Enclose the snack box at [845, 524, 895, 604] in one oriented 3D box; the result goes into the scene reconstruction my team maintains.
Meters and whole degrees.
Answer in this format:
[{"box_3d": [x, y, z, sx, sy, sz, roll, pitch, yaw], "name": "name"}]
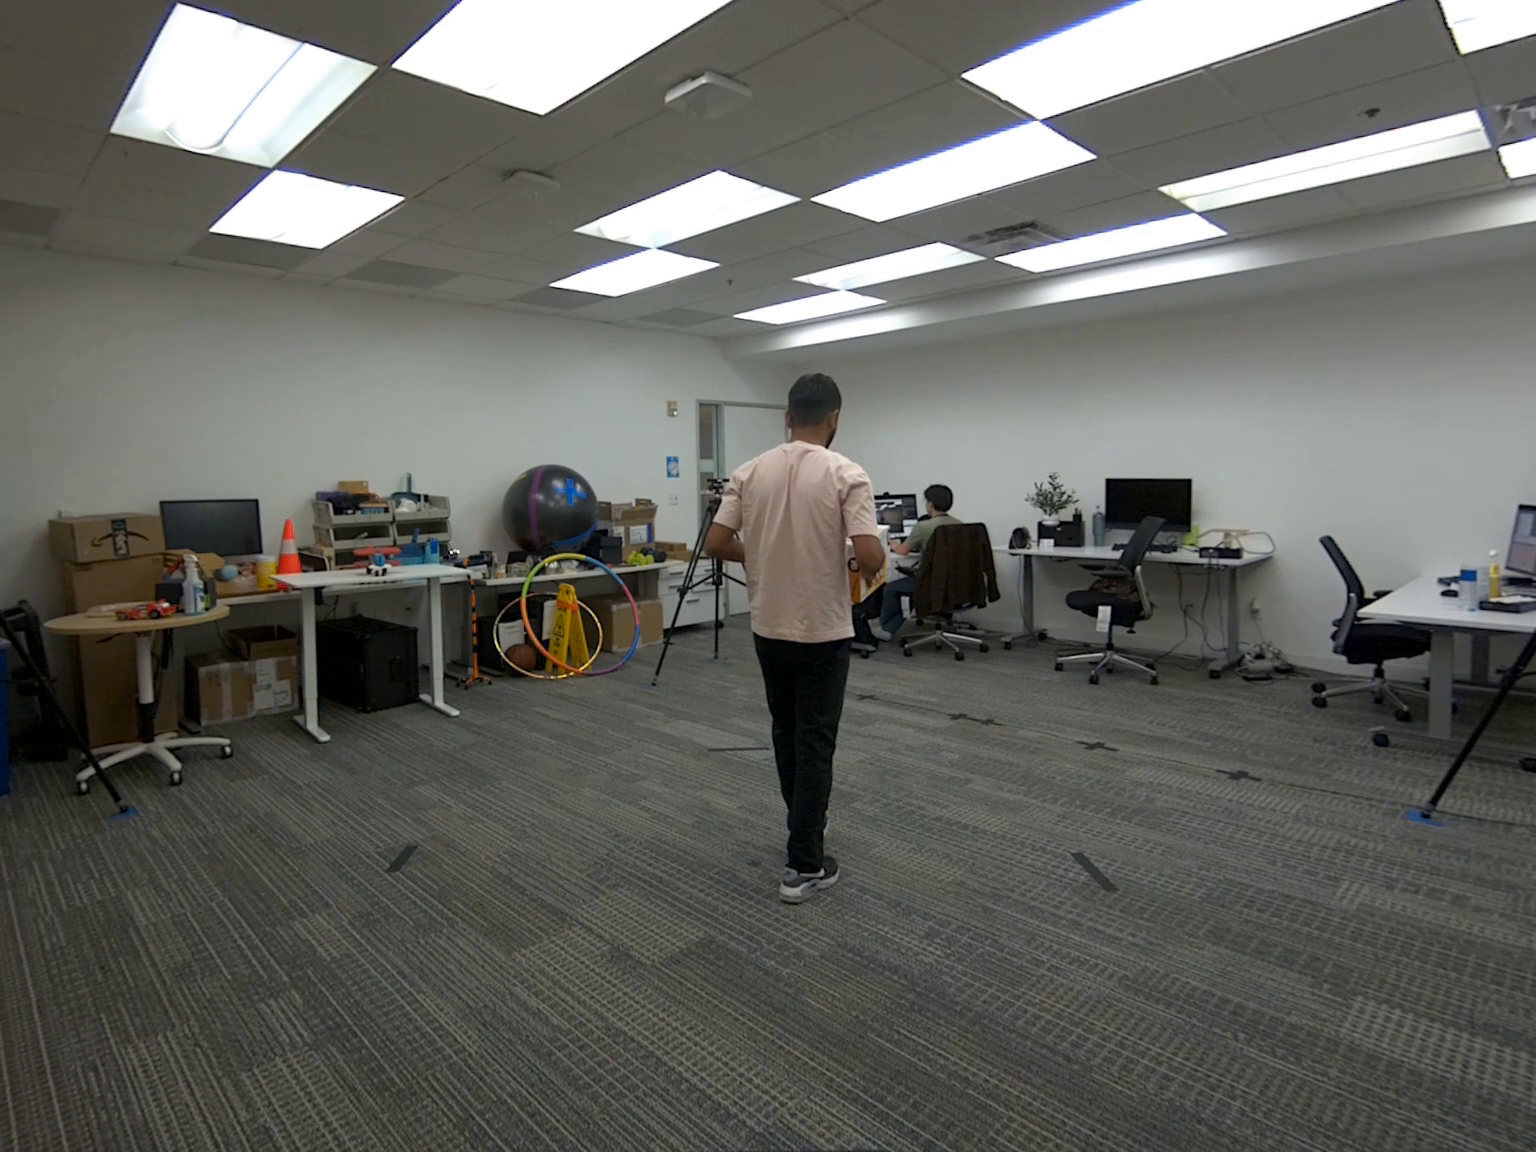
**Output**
[{"box_3d": [0.243, -0.062, 3.149, 0.348, 0.203, 0.400, 3, 13, 24], "name": "snack box"}]
